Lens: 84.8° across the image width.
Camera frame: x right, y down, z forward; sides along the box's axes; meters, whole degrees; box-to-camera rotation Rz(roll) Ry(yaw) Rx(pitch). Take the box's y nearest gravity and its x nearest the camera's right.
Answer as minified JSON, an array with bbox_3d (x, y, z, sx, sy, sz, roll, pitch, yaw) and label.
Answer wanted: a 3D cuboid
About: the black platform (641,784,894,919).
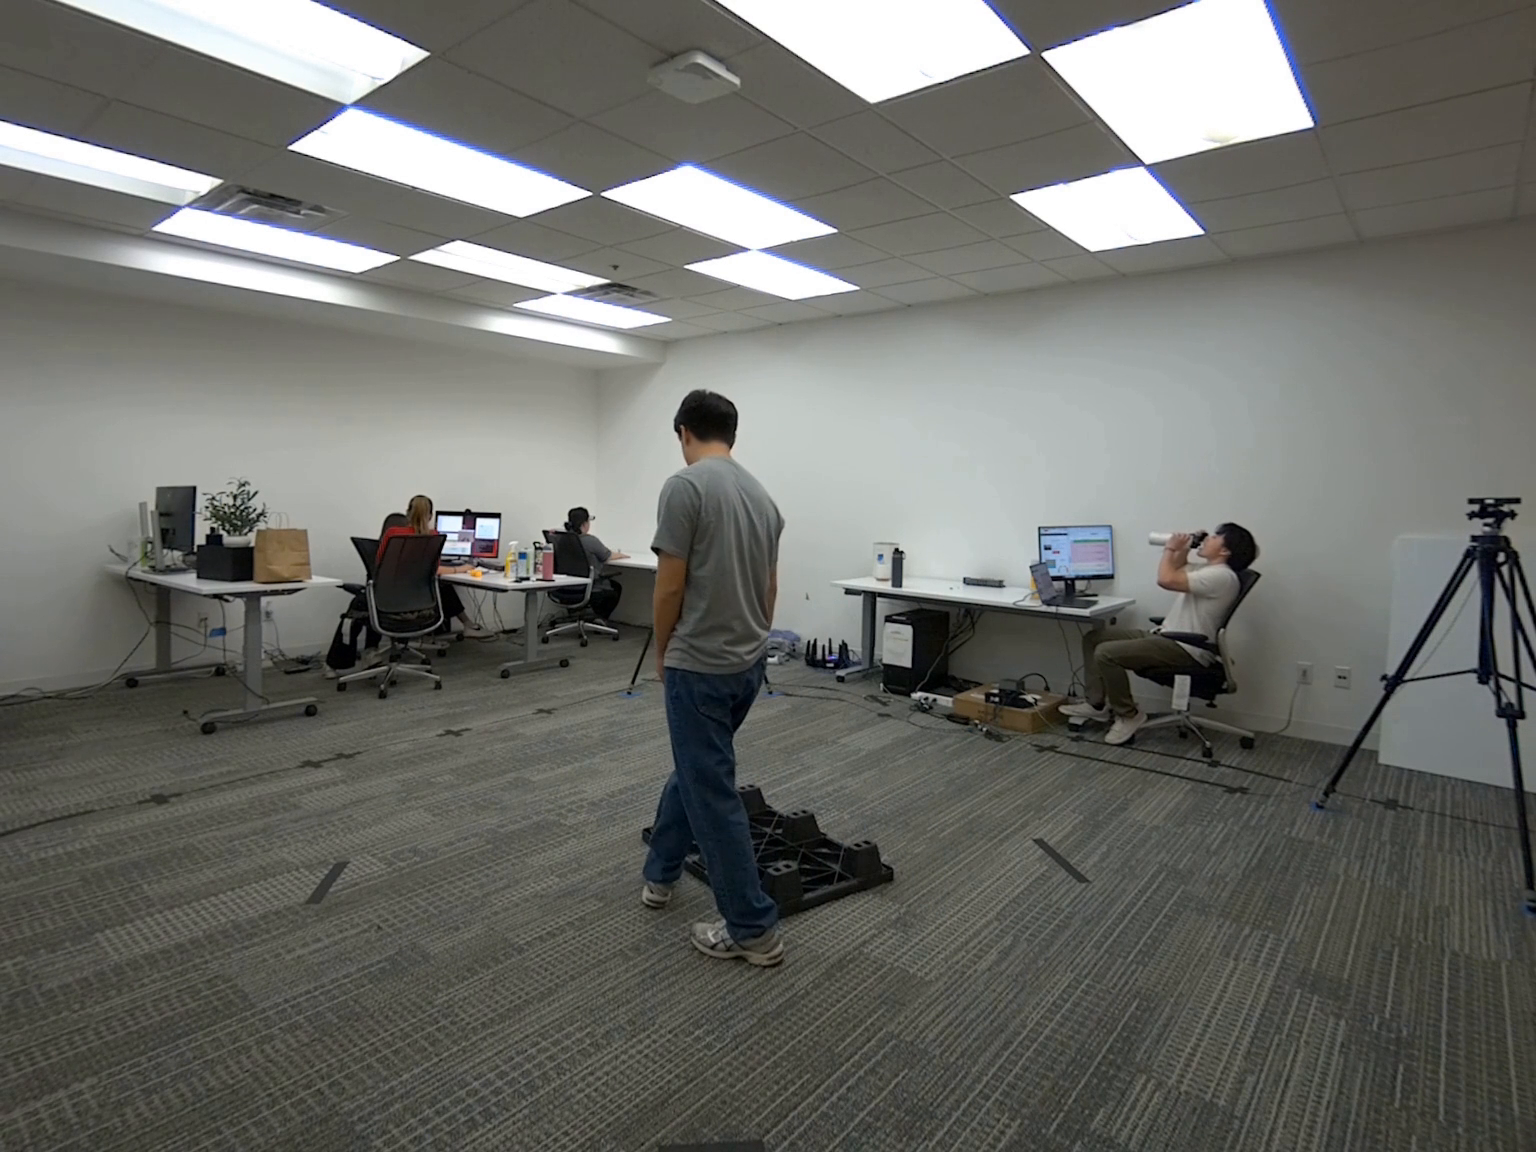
[{"bbox_3d":[-0.033,0.995,3.205,0.587,0.143,0.832,-2,6,-37],"label":"black platform"}]
